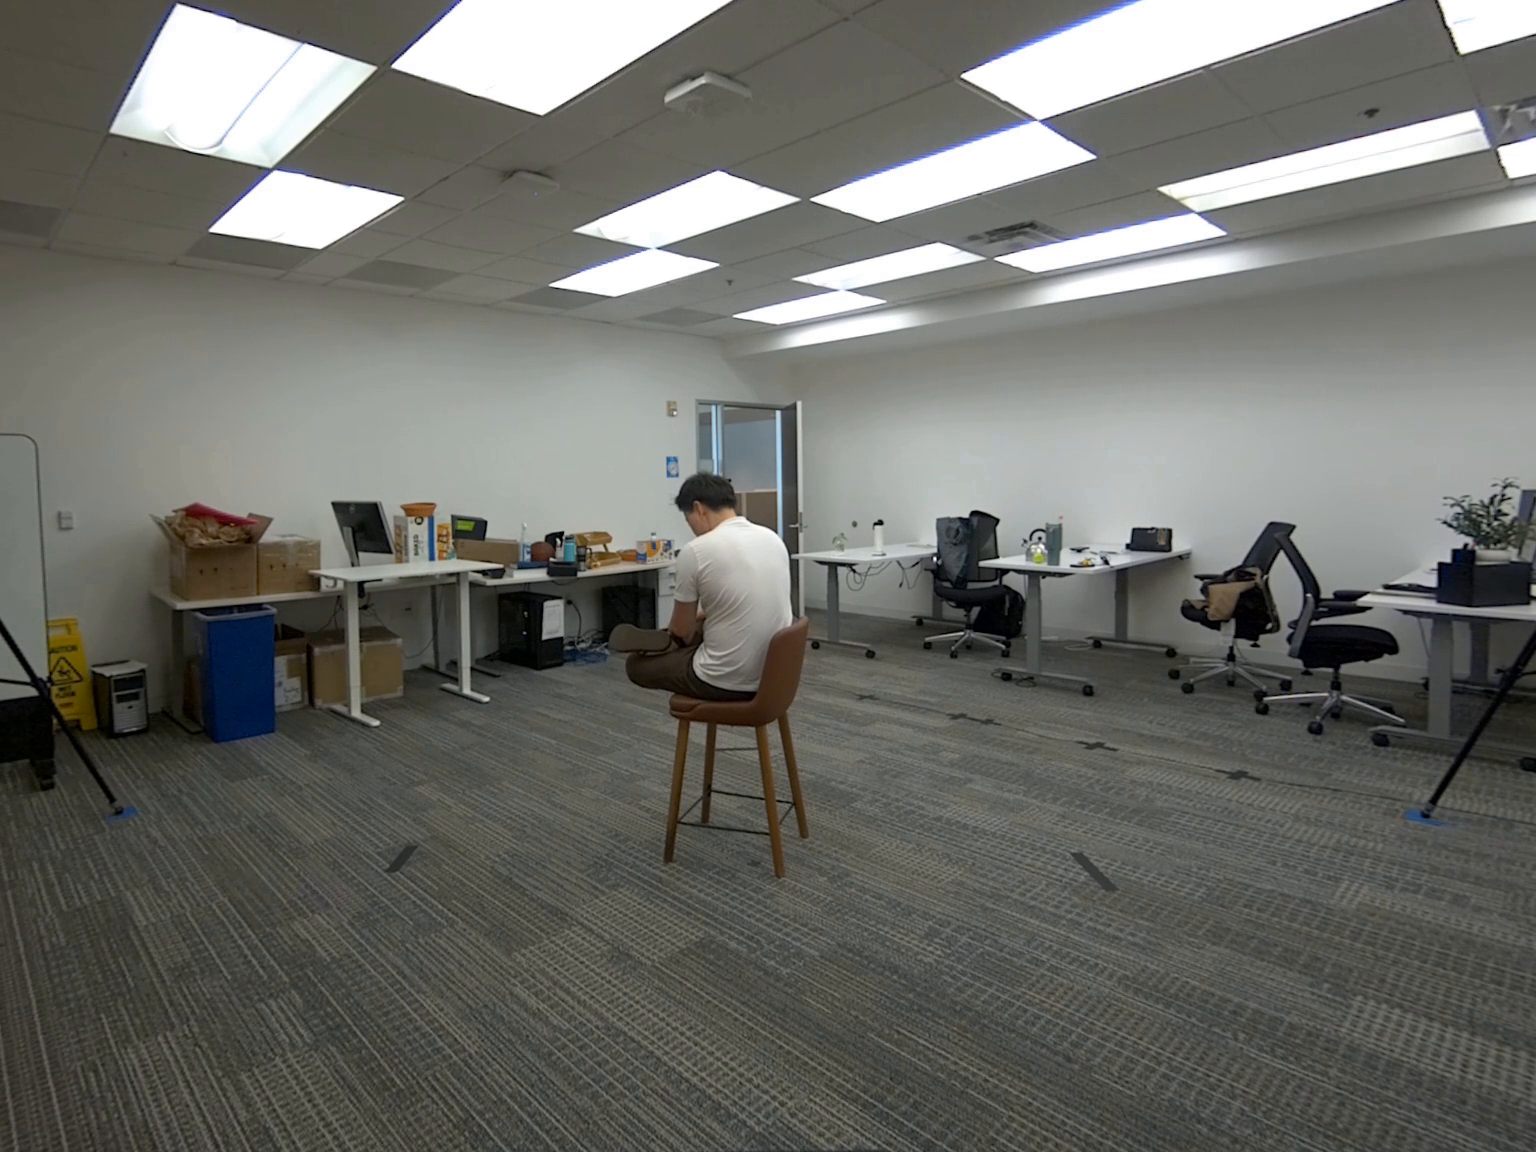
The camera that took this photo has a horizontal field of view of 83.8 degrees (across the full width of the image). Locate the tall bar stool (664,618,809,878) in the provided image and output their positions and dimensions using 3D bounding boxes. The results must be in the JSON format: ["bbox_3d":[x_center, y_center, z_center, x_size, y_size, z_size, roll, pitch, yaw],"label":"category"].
[{"bbox_3d":[-0.101,0.603,3.210,0.477,0.886,0.449,3,5,20],"label":"tall bar stool"}]
